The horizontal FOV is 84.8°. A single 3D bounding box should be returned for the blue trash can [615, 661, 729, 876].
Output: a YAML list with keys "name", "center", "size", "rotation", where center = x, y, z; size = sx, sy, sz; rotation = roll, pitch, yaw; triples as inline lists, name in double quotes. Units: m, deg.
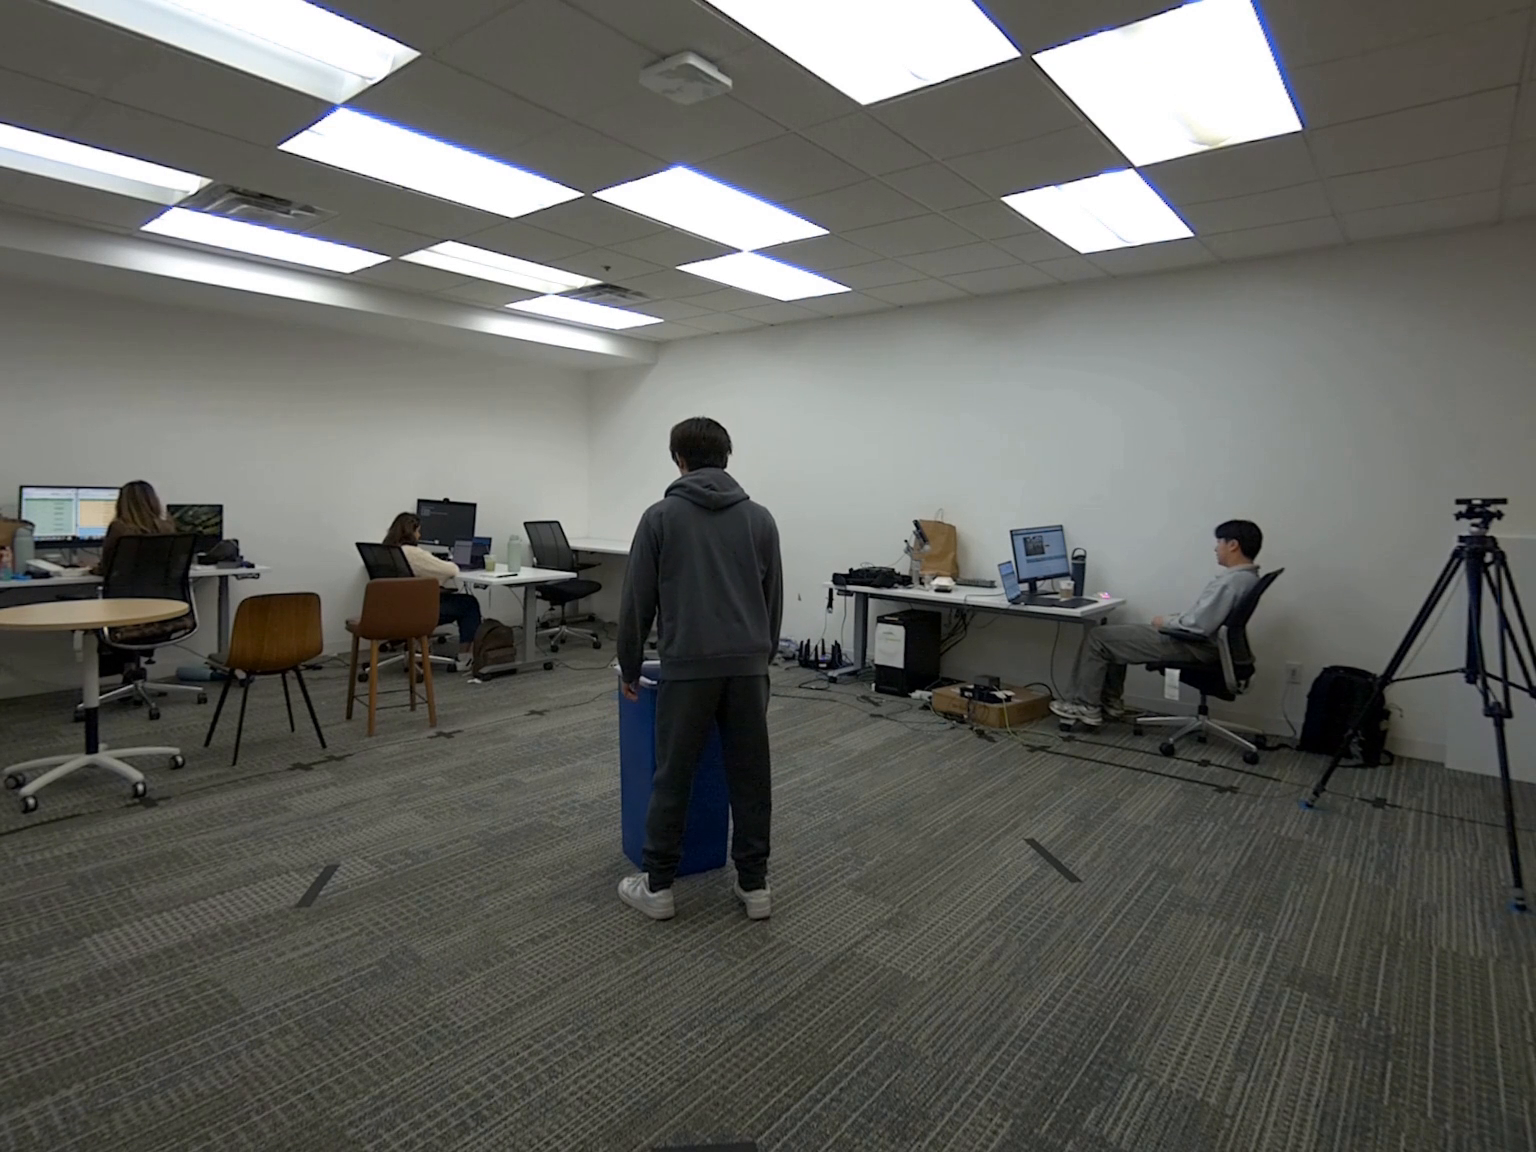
- name: "blue trash can"
  center: [-0.363, 0.702, 3.189]
  size: [0.368, 0.712, 0.385]
  rotation: [0, 3, -31]
